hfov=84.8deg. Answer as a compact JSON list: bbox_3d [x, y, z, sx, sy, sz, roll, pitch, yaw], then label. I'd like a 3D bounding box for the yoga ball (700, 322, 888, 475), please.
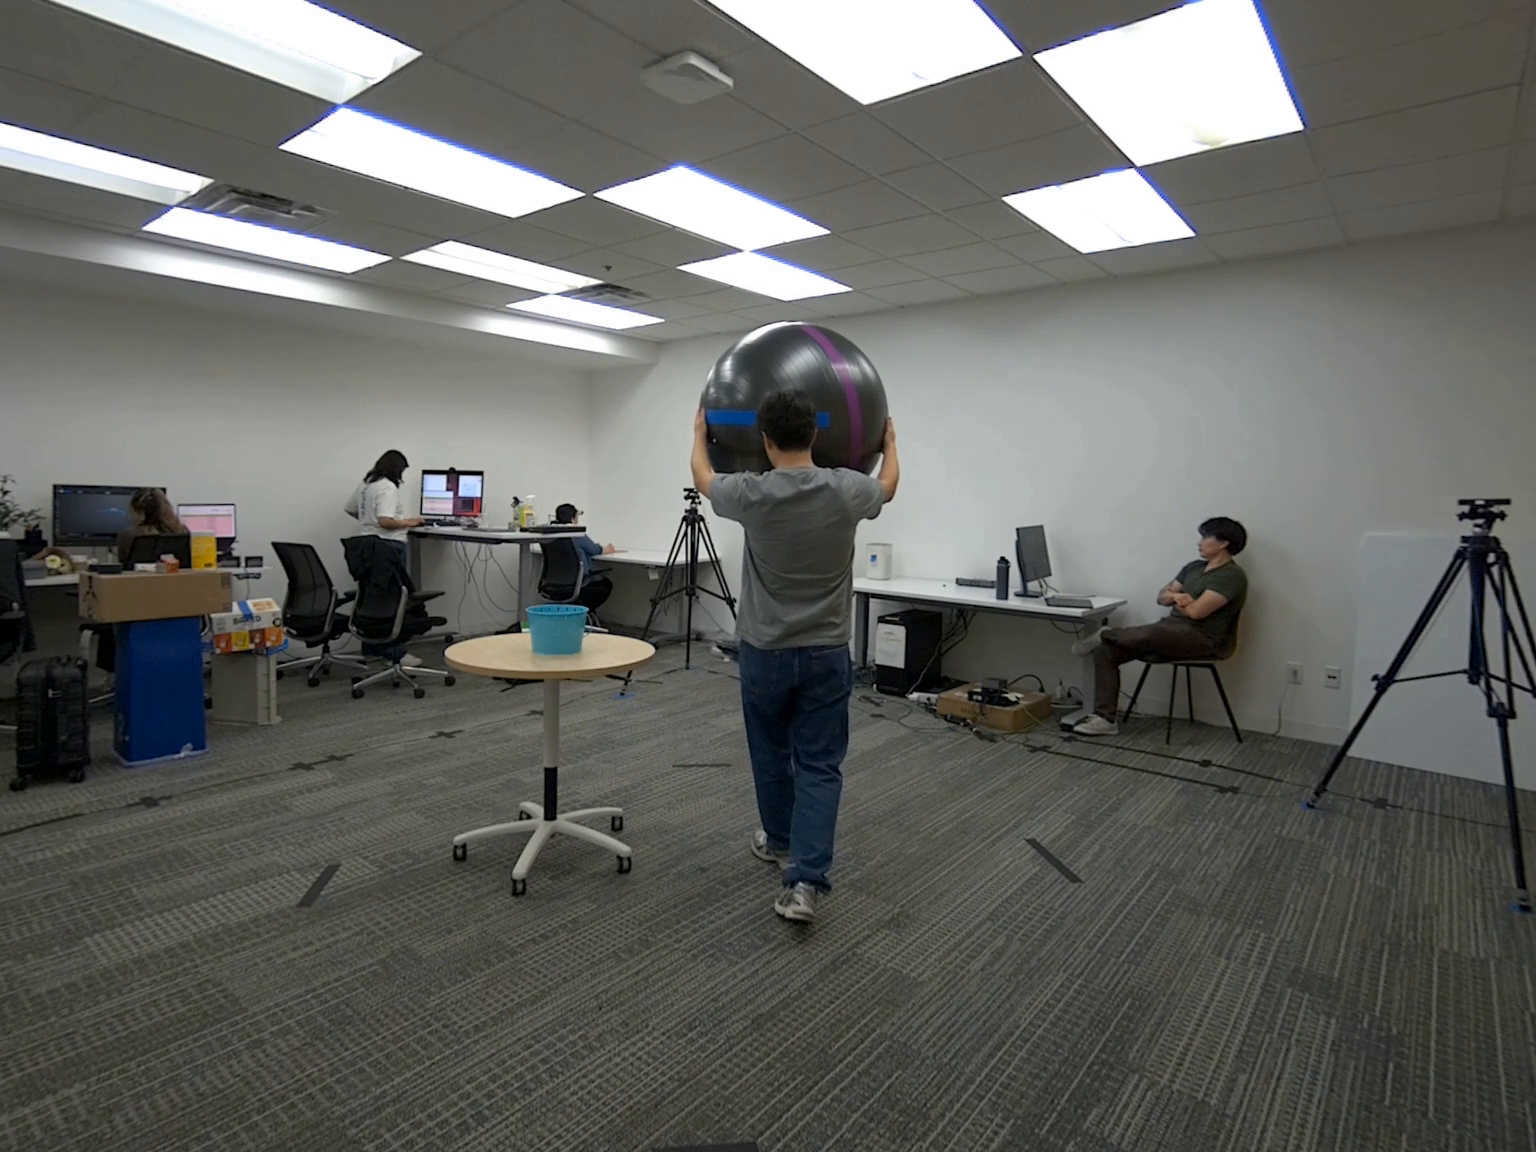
[{"bbox_3d":[0.084,-0.629,3.408,0.757,0.755,0.762,1,4,-2],"label":"yoga ball"}]
